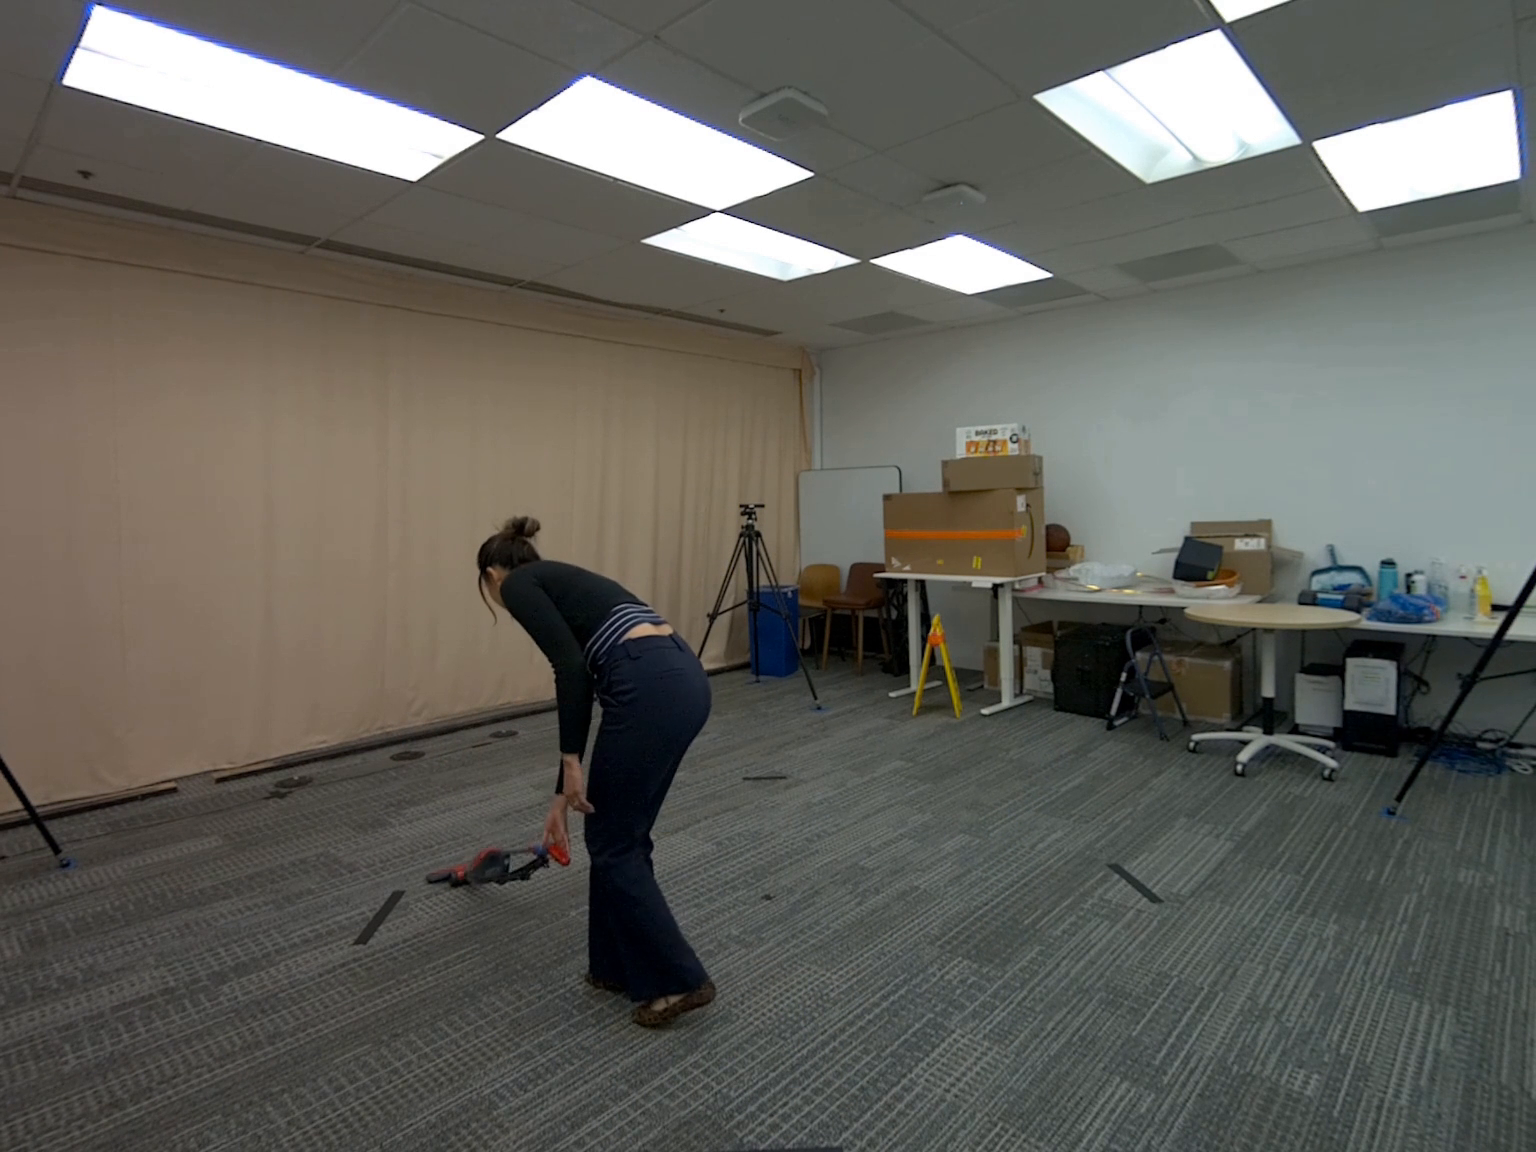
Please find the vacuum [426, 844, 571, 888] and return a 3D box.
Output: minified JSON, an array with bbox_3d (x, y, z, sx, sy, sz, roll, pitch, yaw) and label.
[{"bbox_3d":[-0.883,0.974,2.802,0.246,0.145,1.068,-14,-8,-35],"label":"vacuum"}]
